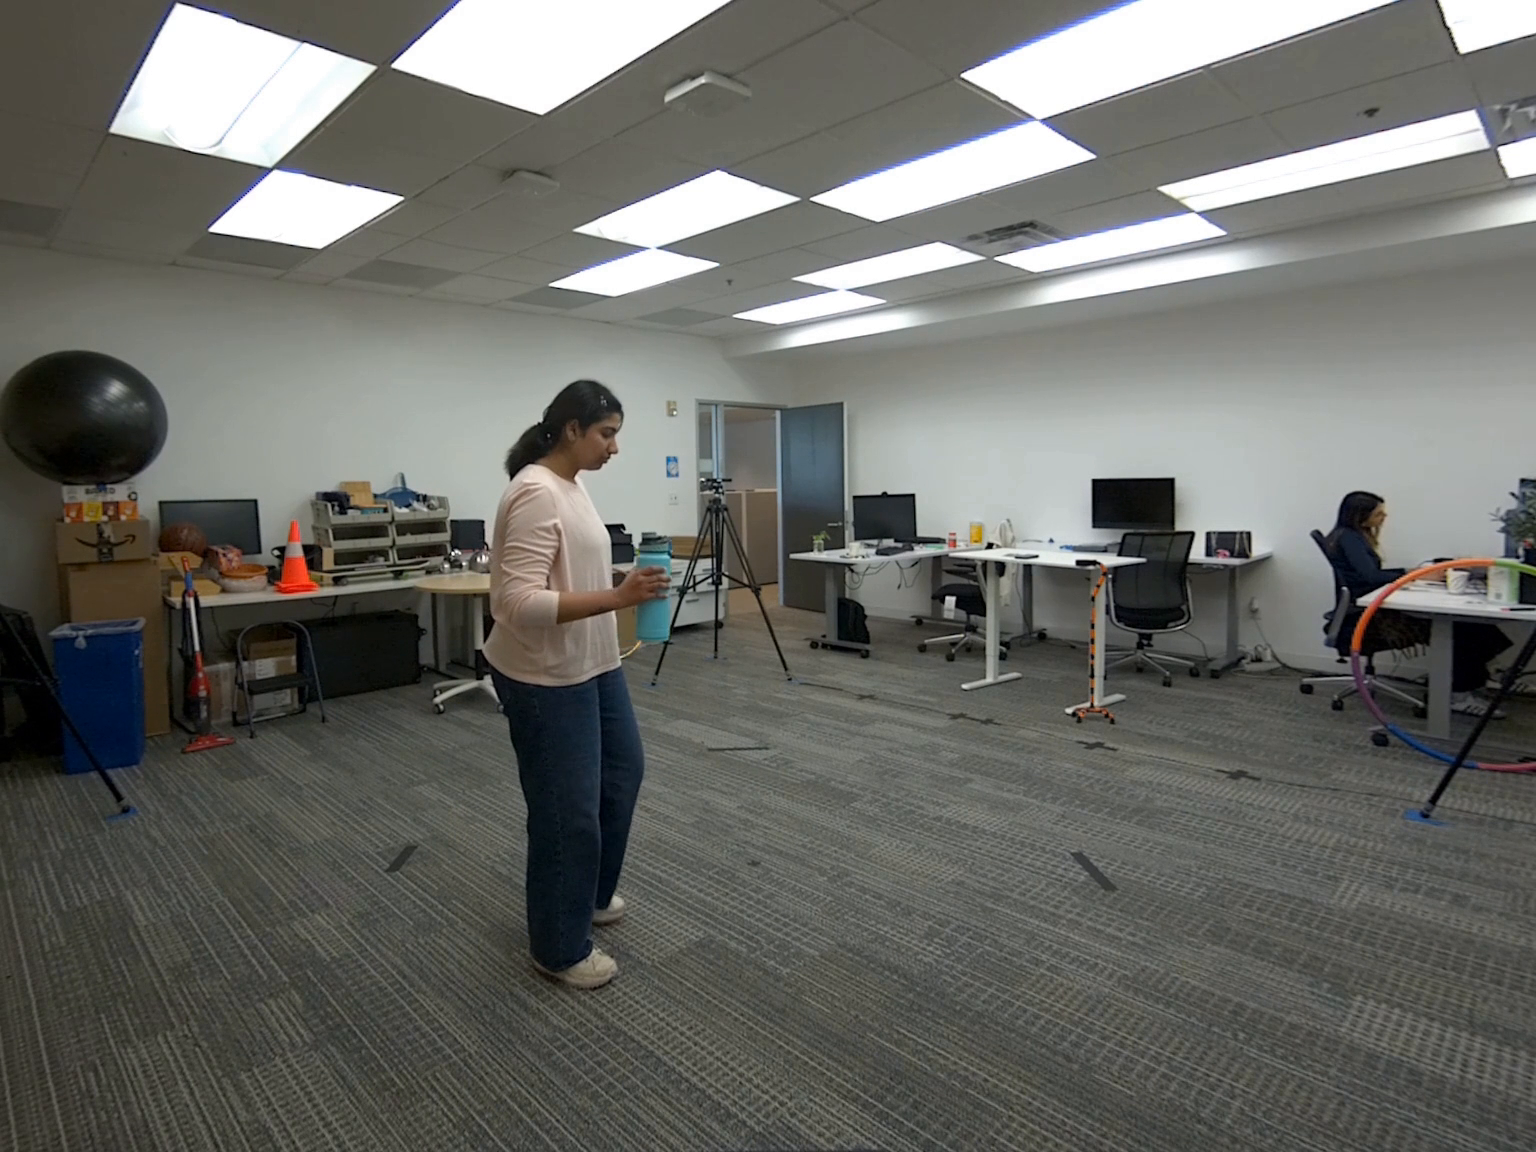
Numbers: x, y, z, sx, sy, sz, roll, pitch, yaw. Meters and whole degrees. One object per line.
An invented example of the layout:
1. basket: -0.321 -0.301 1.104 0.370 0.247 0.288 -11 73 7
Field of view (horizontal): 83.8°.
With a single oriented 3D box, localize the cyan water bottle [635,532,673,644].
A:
1. cyan water bottle: -0.302 0.024 2.233 0.092 0.283 0.092 3 0 -2
